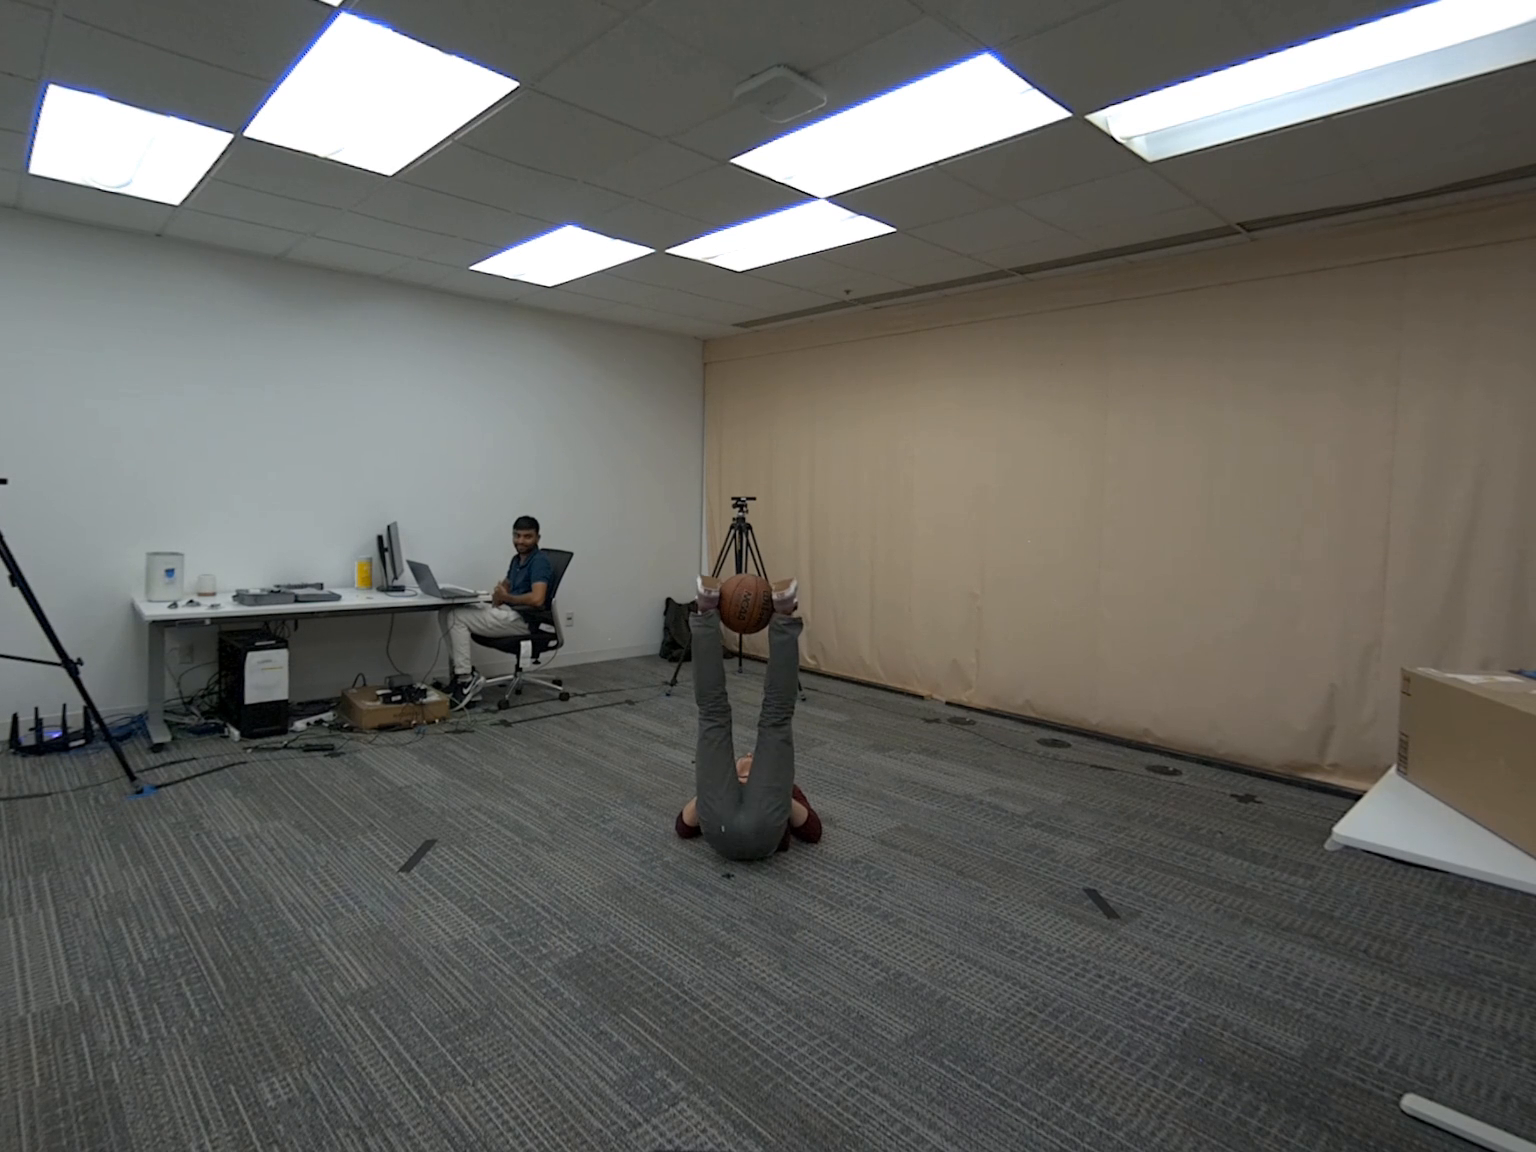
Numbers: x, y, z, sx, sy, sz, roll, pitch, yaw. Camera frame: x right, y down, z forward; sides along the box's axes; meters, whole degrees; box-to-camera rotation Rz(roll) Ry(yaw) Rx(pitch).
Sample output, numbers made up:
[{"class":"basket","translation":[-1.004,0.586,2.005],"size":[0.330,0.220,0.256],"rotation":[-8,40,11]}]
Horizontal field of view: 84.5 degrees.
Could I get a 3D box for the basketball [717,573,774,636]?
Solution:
[{"class":"basketball","translation":[-0.104,0.117,3.268],"size":[0.236,0.234,0.237],"rotation":[0,7,-1]}]
